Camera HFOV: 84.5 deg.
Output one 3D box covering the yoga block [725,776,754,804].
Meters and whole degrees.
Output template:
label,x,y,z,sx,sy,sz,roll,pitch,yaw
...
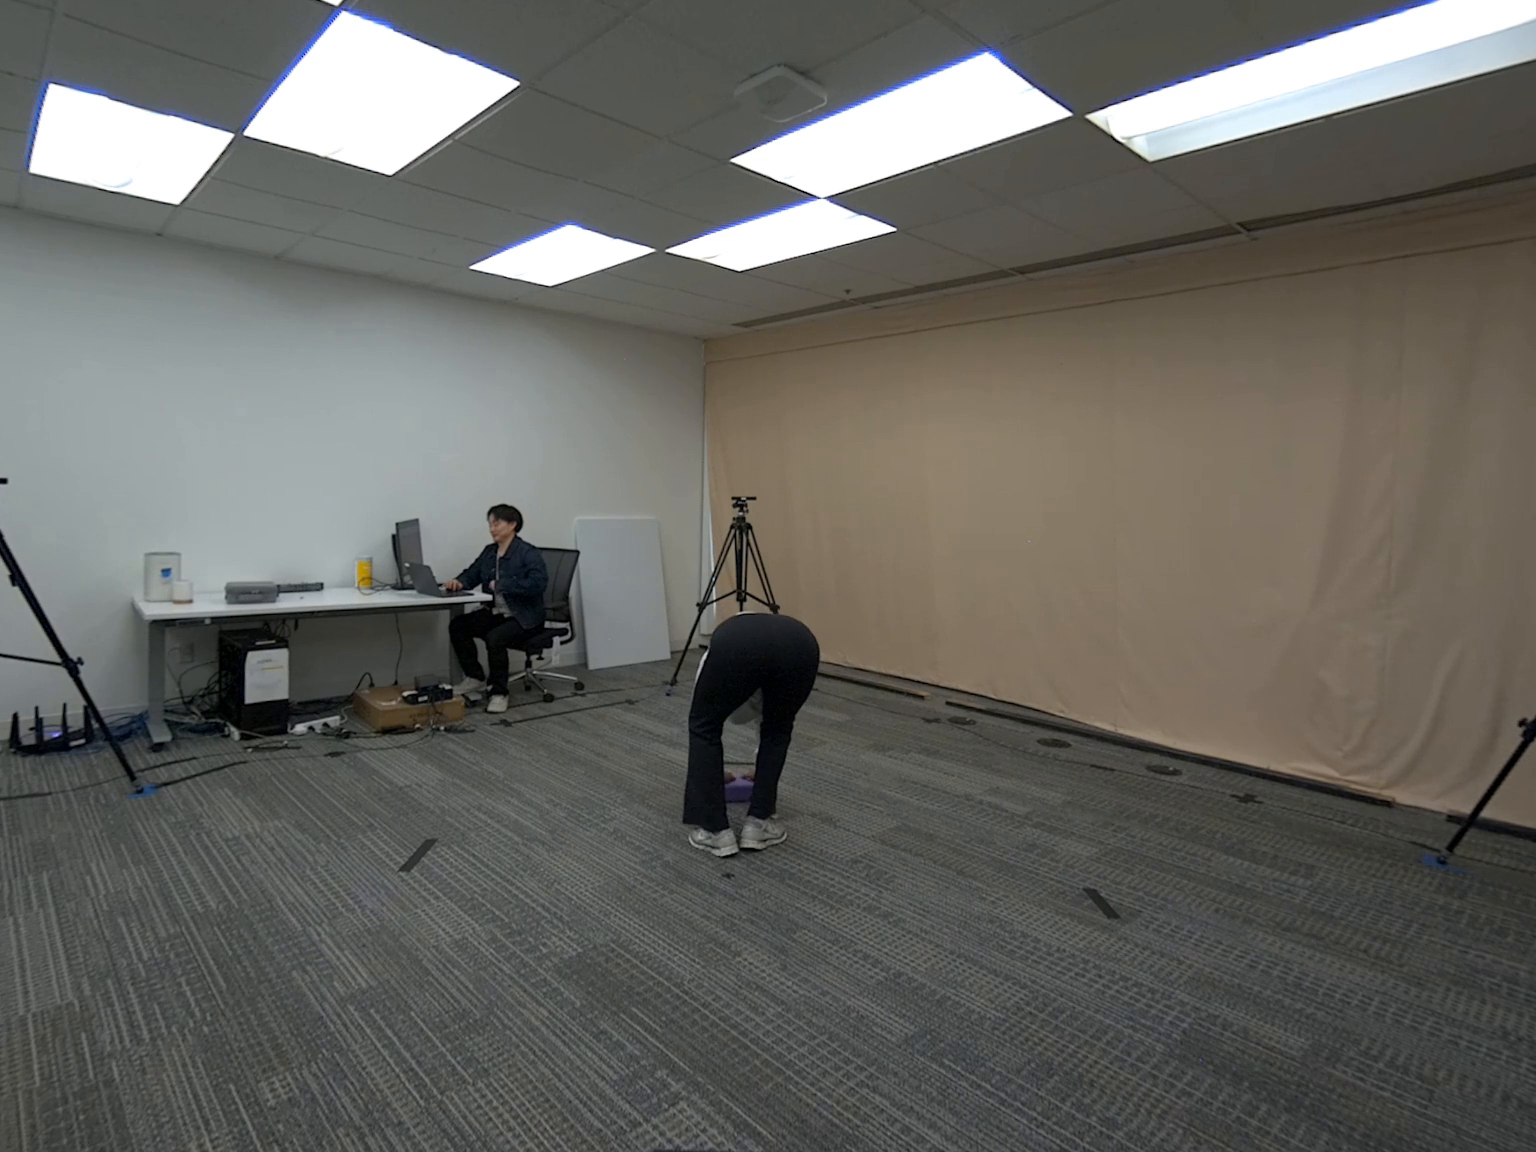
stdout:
label,x,y,z,sx,sy,sz,roll,pitch,yaw
yoga block,-0.122,1.004,3.953,0.228,0.076,0.150,1,0,-9
